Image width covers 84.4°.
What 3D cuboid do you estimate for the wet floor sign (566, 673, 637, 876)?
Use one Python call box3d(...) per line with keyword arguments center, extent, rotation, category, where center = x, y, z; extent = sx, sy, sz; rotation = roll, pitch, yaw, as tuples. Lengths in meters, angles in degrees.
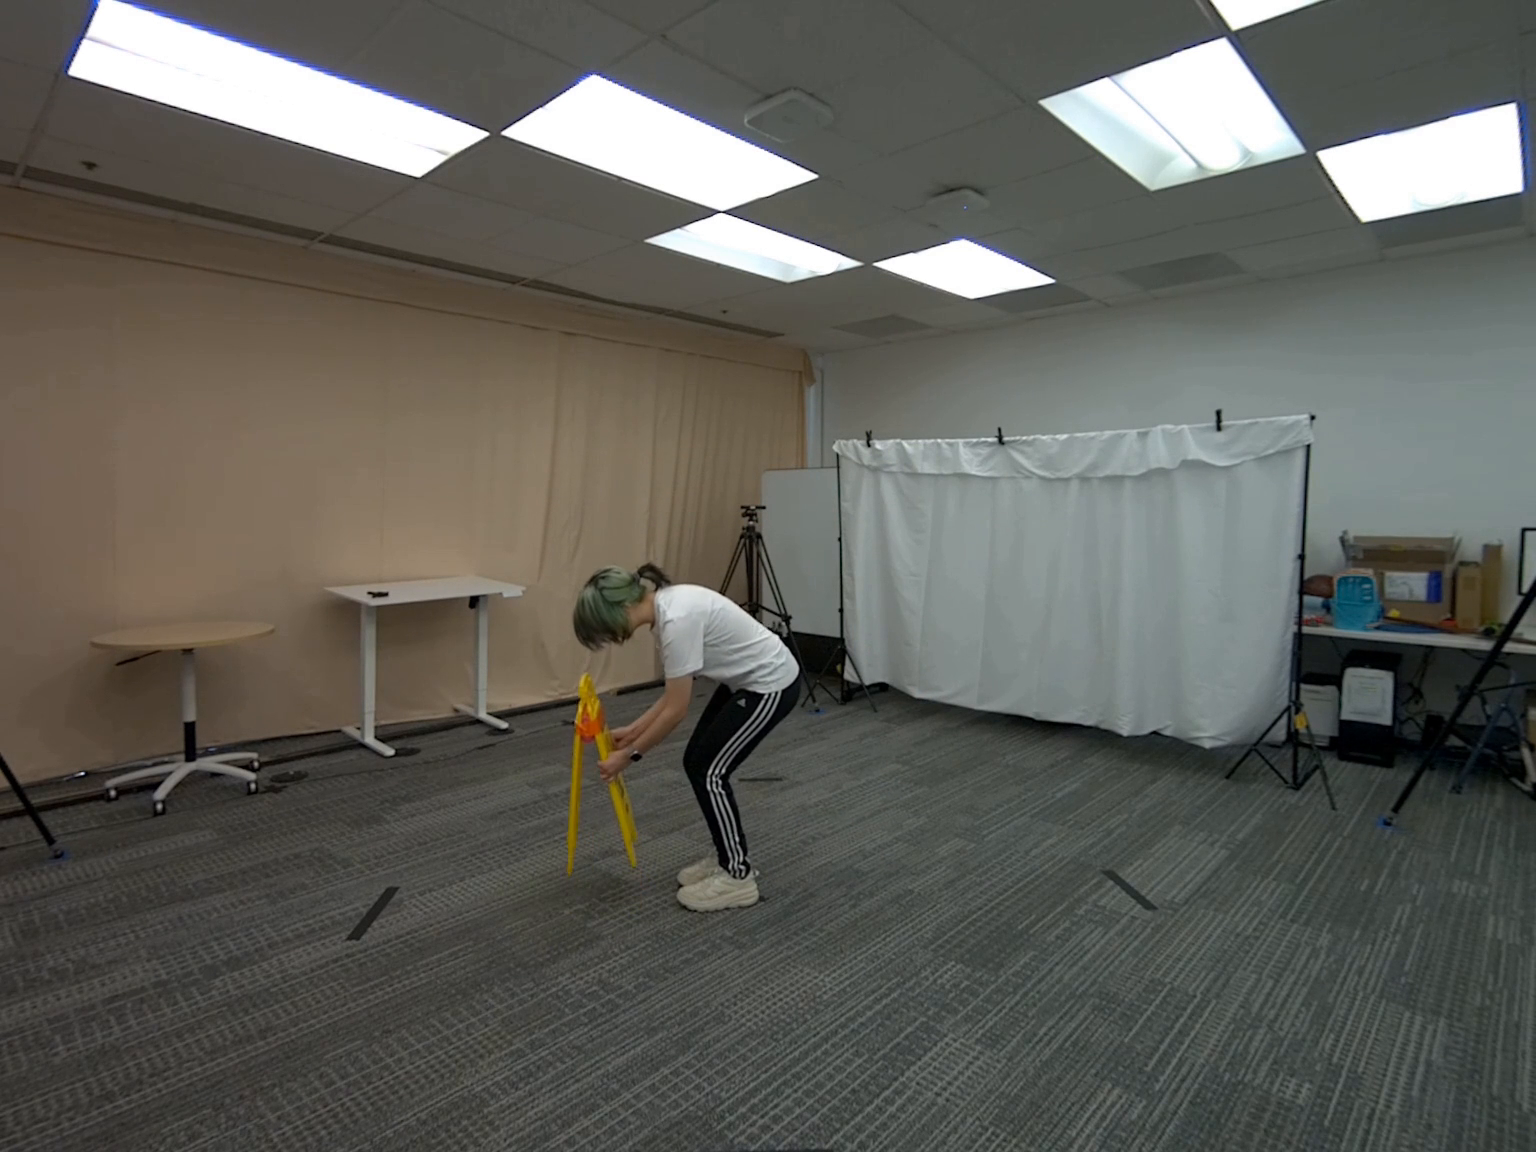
box3d(center=(-0.624, 0.684, 3.004), extent=(0.288, 0.643, 0.285), rotation=(-6, 6, -7), category="wet floor sign")
